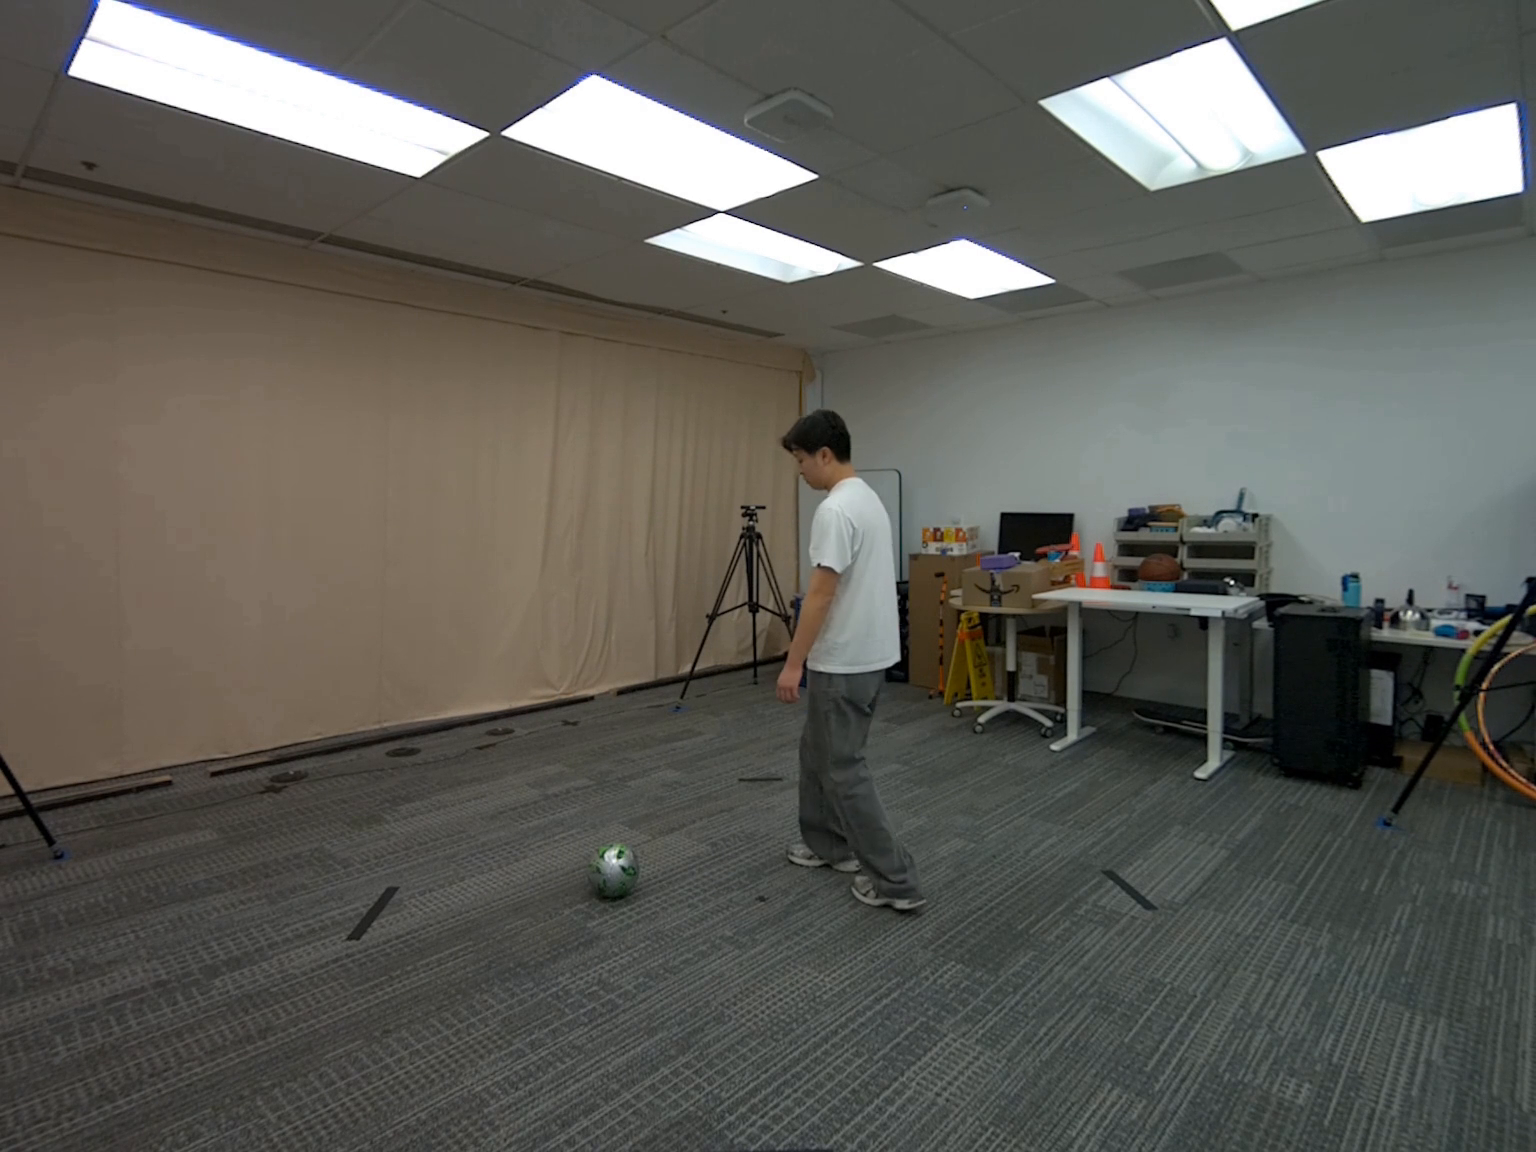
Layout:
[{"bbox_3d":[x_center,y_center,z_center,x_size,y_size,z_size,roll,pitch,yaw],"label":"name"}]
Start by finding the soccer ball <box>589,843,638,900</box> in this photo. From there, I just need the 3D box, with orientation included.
[{"bbox_3d":[-0.550,1.059,3.017,0.187,0.187,0.188,0,4,-2],"label":"soccer ball"}]
